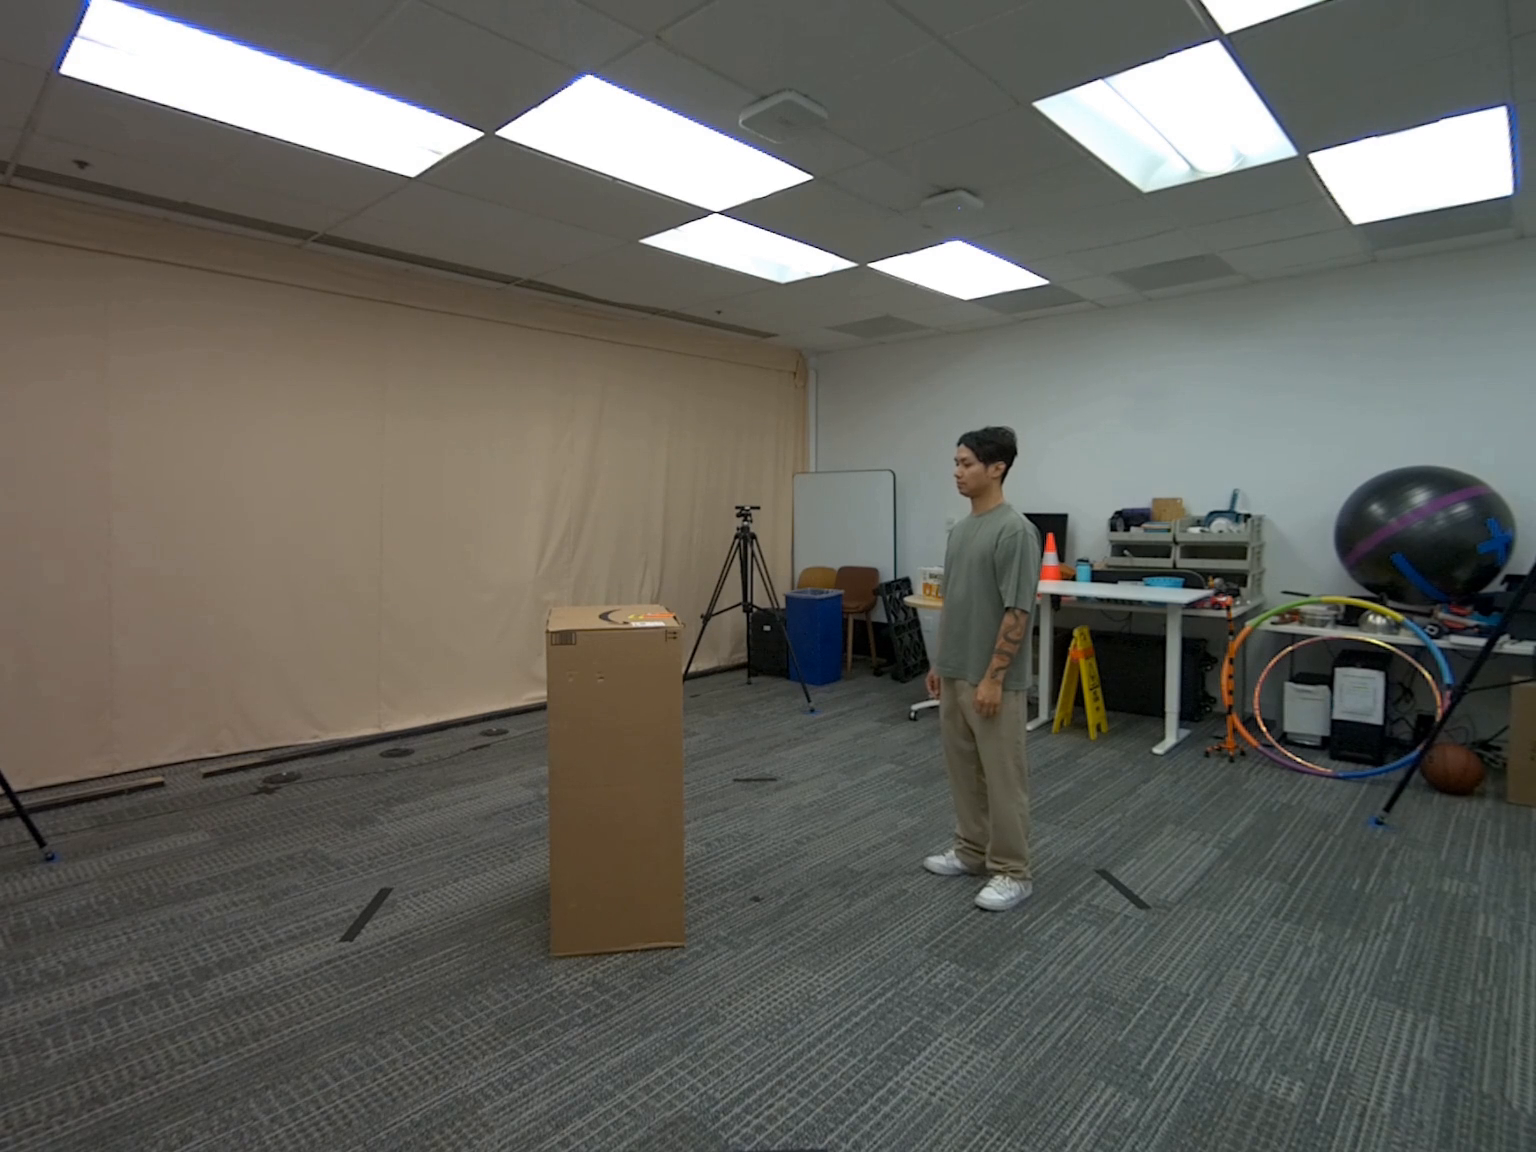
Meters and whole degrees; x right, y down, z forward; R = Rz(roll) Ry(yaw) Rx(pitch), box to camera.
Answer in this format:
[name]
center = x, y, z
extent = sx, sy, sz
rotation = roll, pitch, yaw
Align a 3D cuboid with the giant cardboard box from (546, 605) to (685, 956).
[giant cardboard box]
center = -0.535, 0.651, 2.889
extent = 0.421, 1.024, 0.585
rotation = -1, 3, -11
